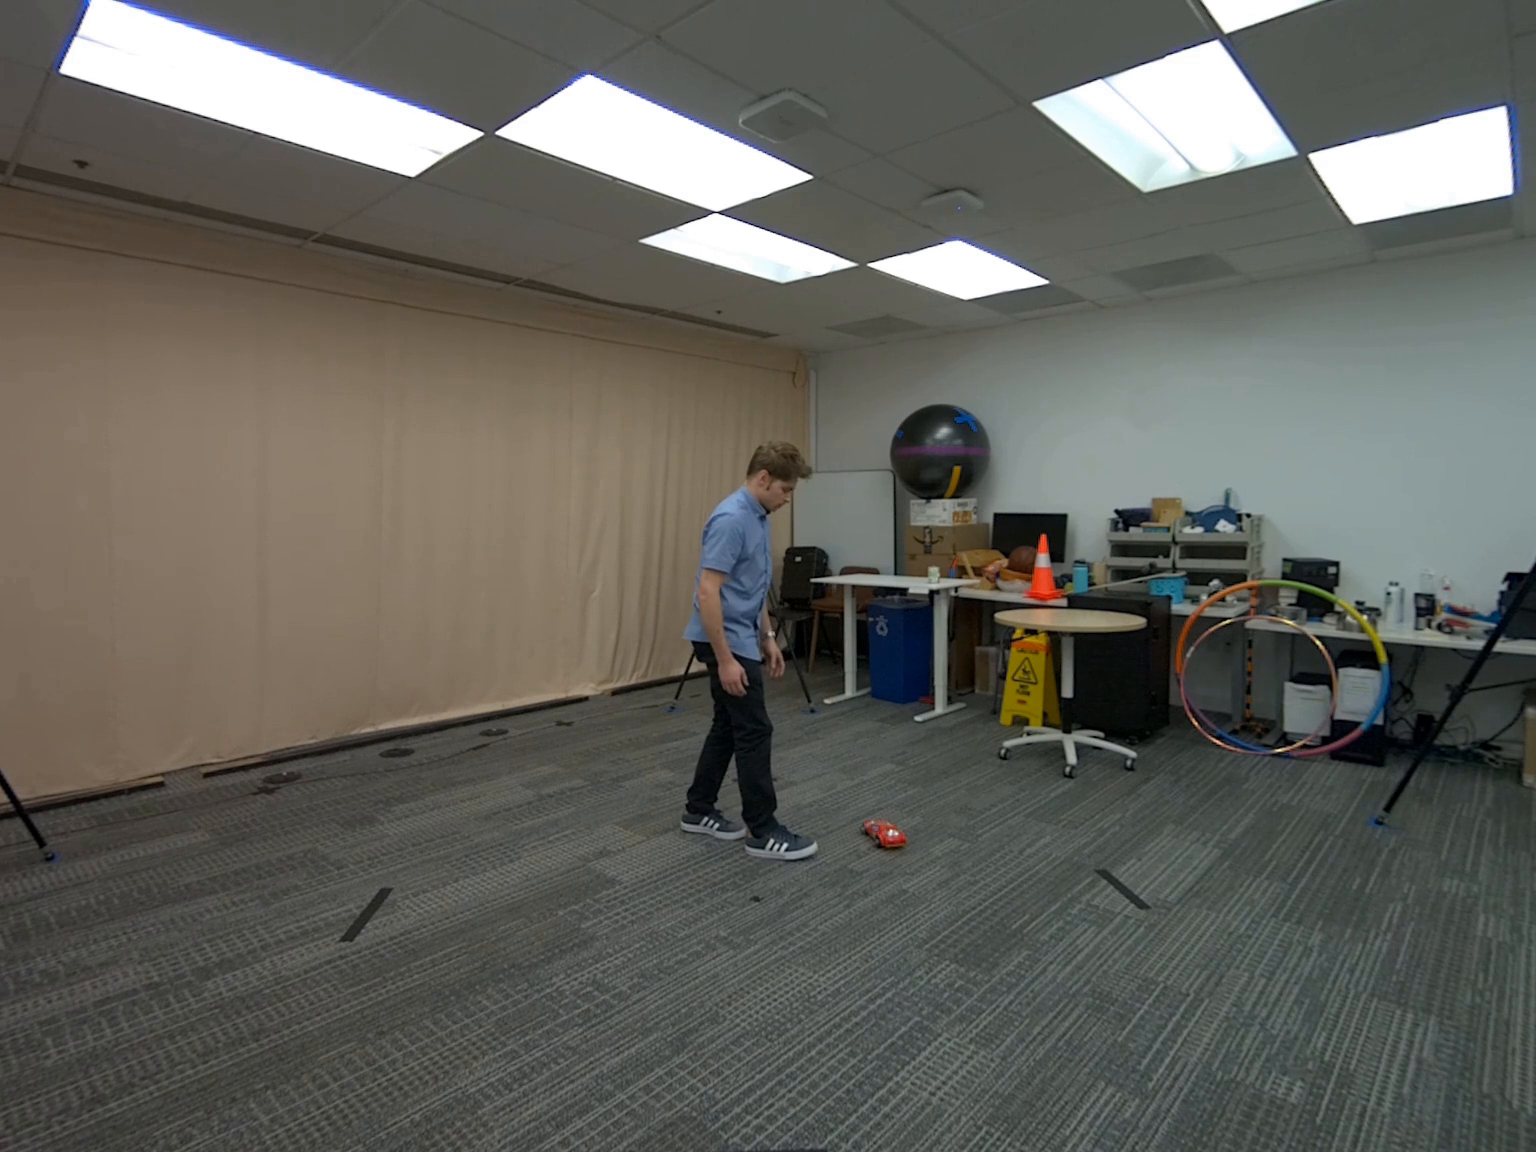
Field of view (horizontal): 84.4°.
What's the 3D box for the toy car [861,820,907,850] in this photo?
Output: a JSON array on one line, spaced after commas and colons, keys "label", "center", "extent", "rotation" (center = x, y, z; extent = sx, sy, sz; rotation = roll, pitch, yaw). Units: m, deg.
[{"label": "toy car", "center": [0.486, 1.067, 3.487], "extent": [0.128, 0.083, 0.257], "rotation": [-1, -5, -16]}]
